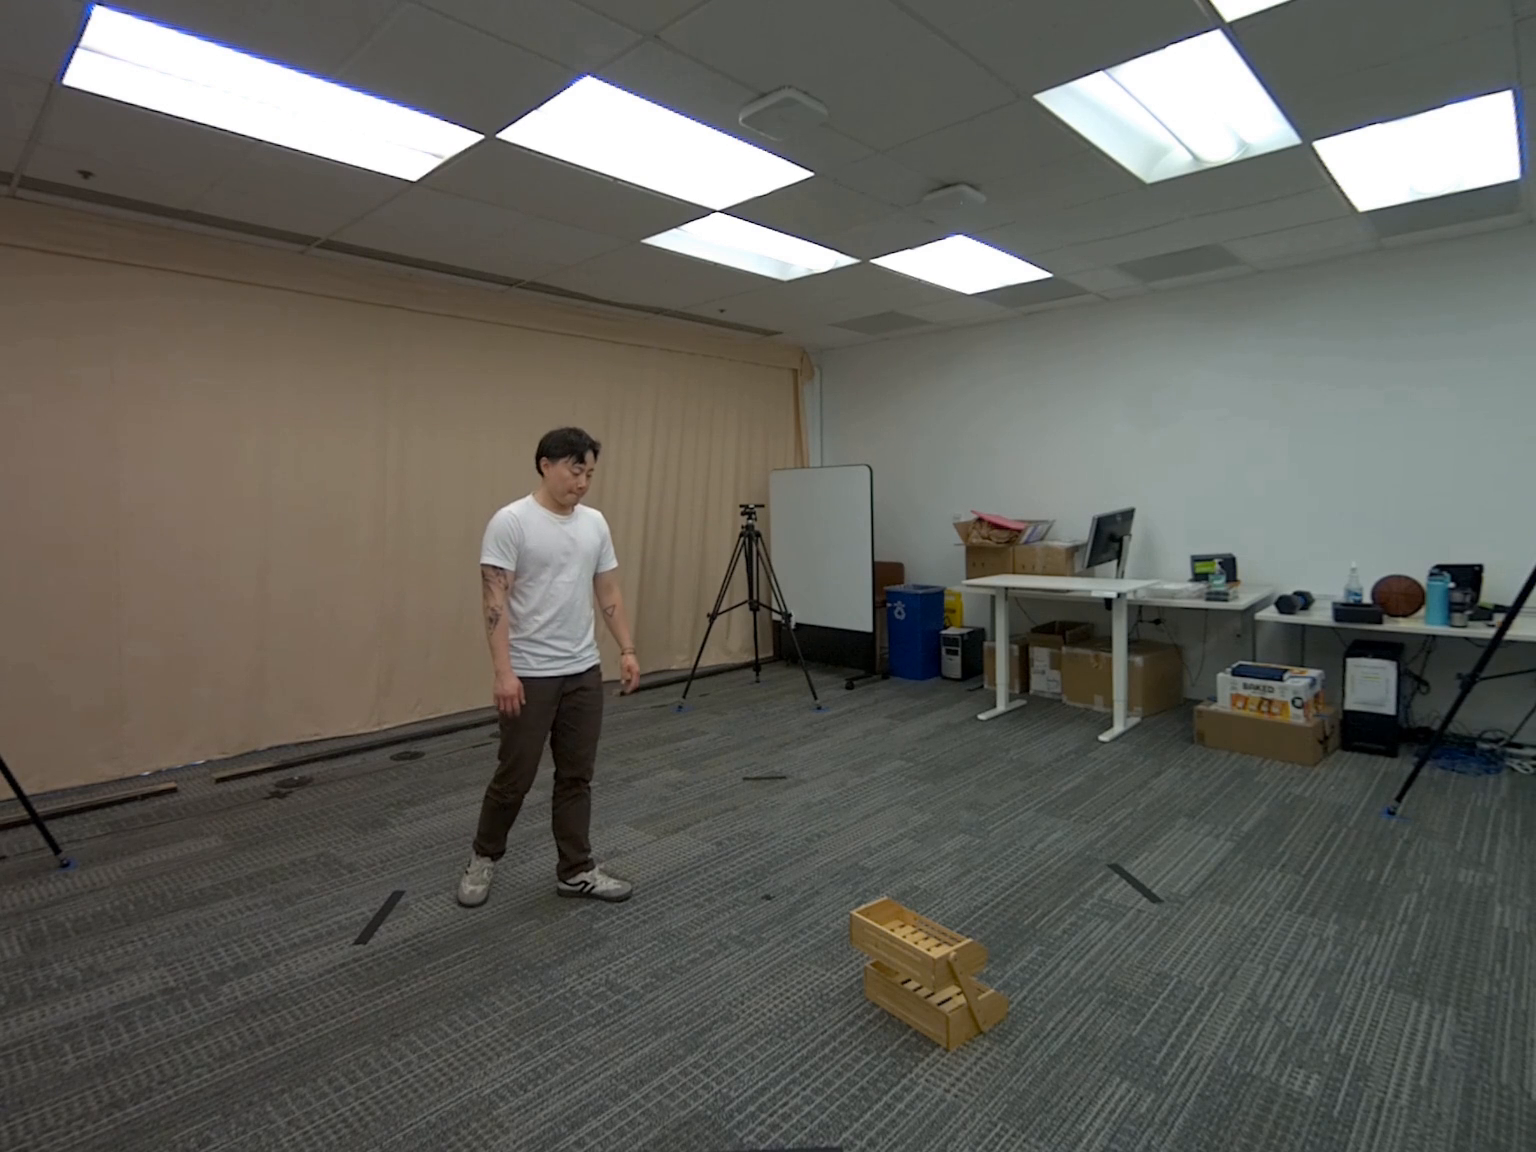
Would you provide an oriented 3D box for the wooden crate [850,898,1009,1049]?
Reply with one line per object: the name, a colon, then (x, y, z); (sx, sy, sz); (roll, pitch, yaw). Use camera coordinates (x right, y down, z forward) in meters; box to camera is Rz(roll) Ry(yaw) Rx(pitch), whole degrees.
wooden crate: (0.448, 1.058, 2.302); (0.293, 0.273, 0.335); (-4, 5, -38)
